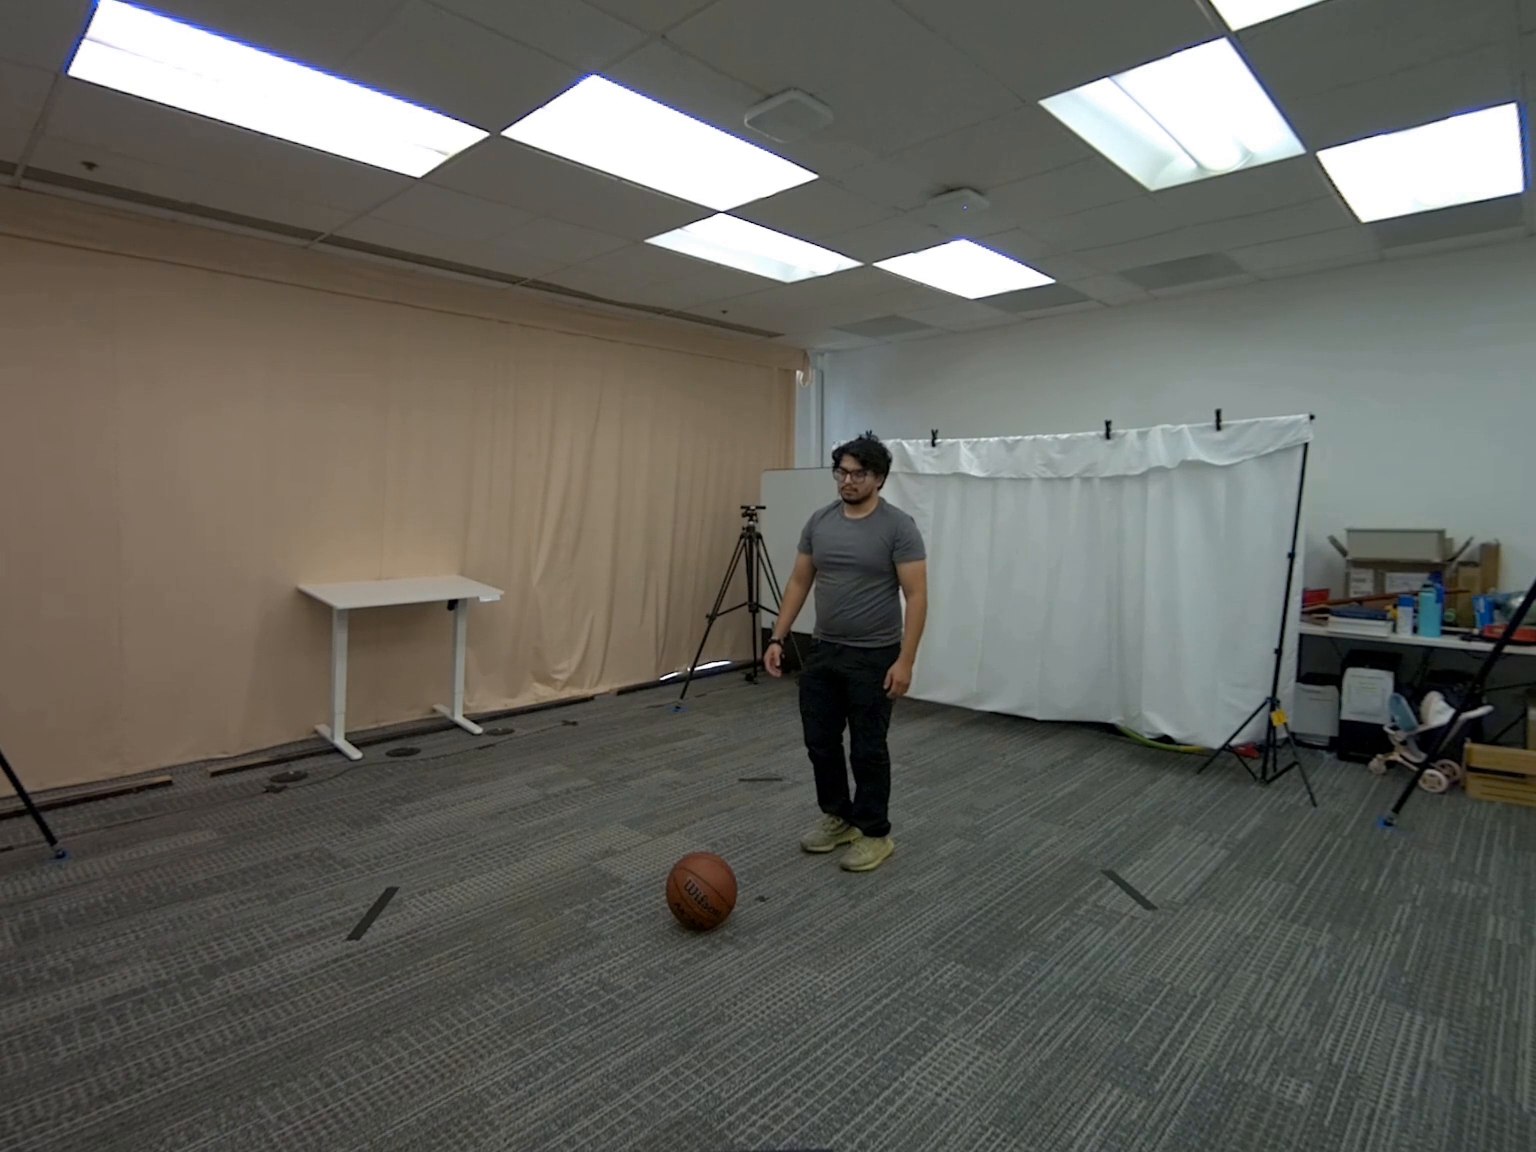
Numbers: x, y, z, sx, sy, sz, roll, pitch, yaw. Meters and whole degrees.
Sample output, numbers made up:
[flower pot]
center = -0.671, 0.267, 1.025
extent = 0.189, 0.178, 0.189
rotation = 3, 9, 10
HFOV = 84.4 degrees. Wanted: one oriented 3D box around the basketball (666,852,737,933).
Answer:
[basketball]
center = -0.217, 1.038, 2.795
extent = 0.236, 0.235, 0.237
rotation = 0, 4, -2
